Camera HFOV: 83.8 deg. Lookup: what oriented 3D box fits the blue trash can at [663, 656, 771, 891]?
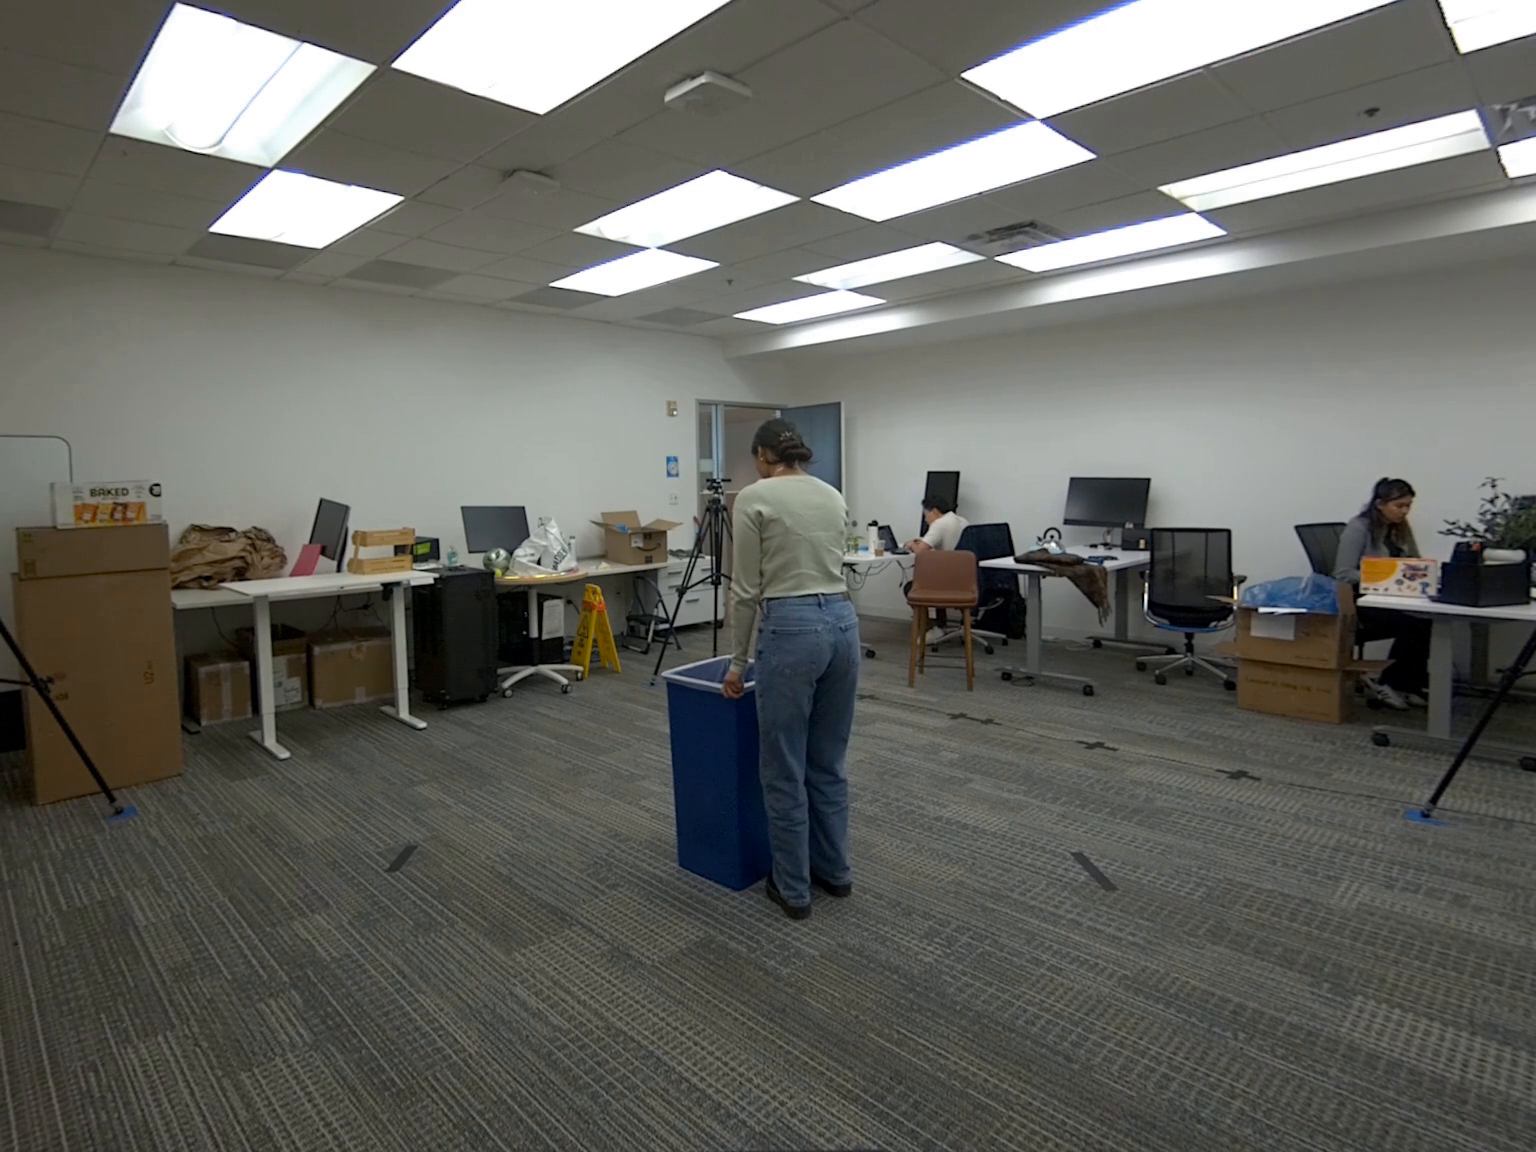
[{"bbox_3d":[-0.124,0.689,3.067,0.390,0.711,0.364,3,6,42],"label":"blue trash can"}]
